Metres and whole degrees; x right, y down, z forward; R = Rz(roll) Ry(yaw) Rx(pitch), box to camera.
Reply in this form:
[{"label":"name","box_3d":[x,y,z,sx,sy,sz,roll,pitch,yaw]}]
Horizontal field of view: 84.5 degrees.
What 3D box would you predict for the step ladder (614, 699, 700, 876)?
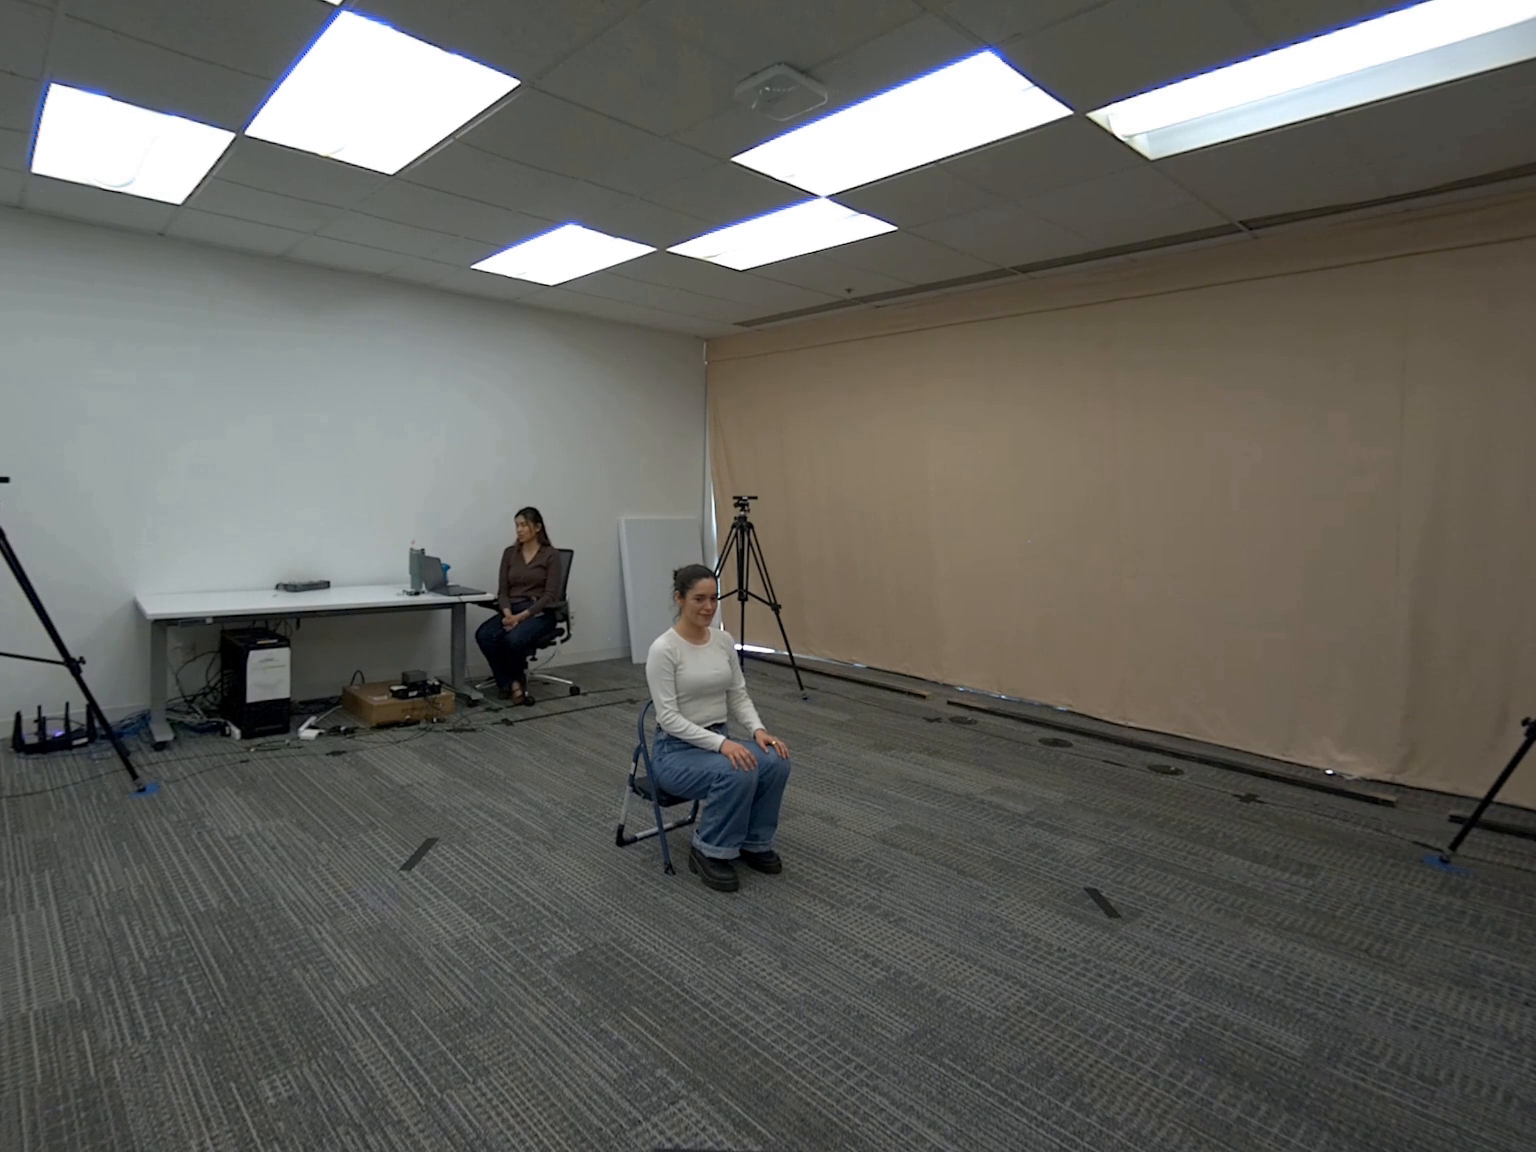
[{"label":"step ladder","box_3d":[-0.341,0.771,3.347,0.358,0.605,0.421,5,5,44]}]
